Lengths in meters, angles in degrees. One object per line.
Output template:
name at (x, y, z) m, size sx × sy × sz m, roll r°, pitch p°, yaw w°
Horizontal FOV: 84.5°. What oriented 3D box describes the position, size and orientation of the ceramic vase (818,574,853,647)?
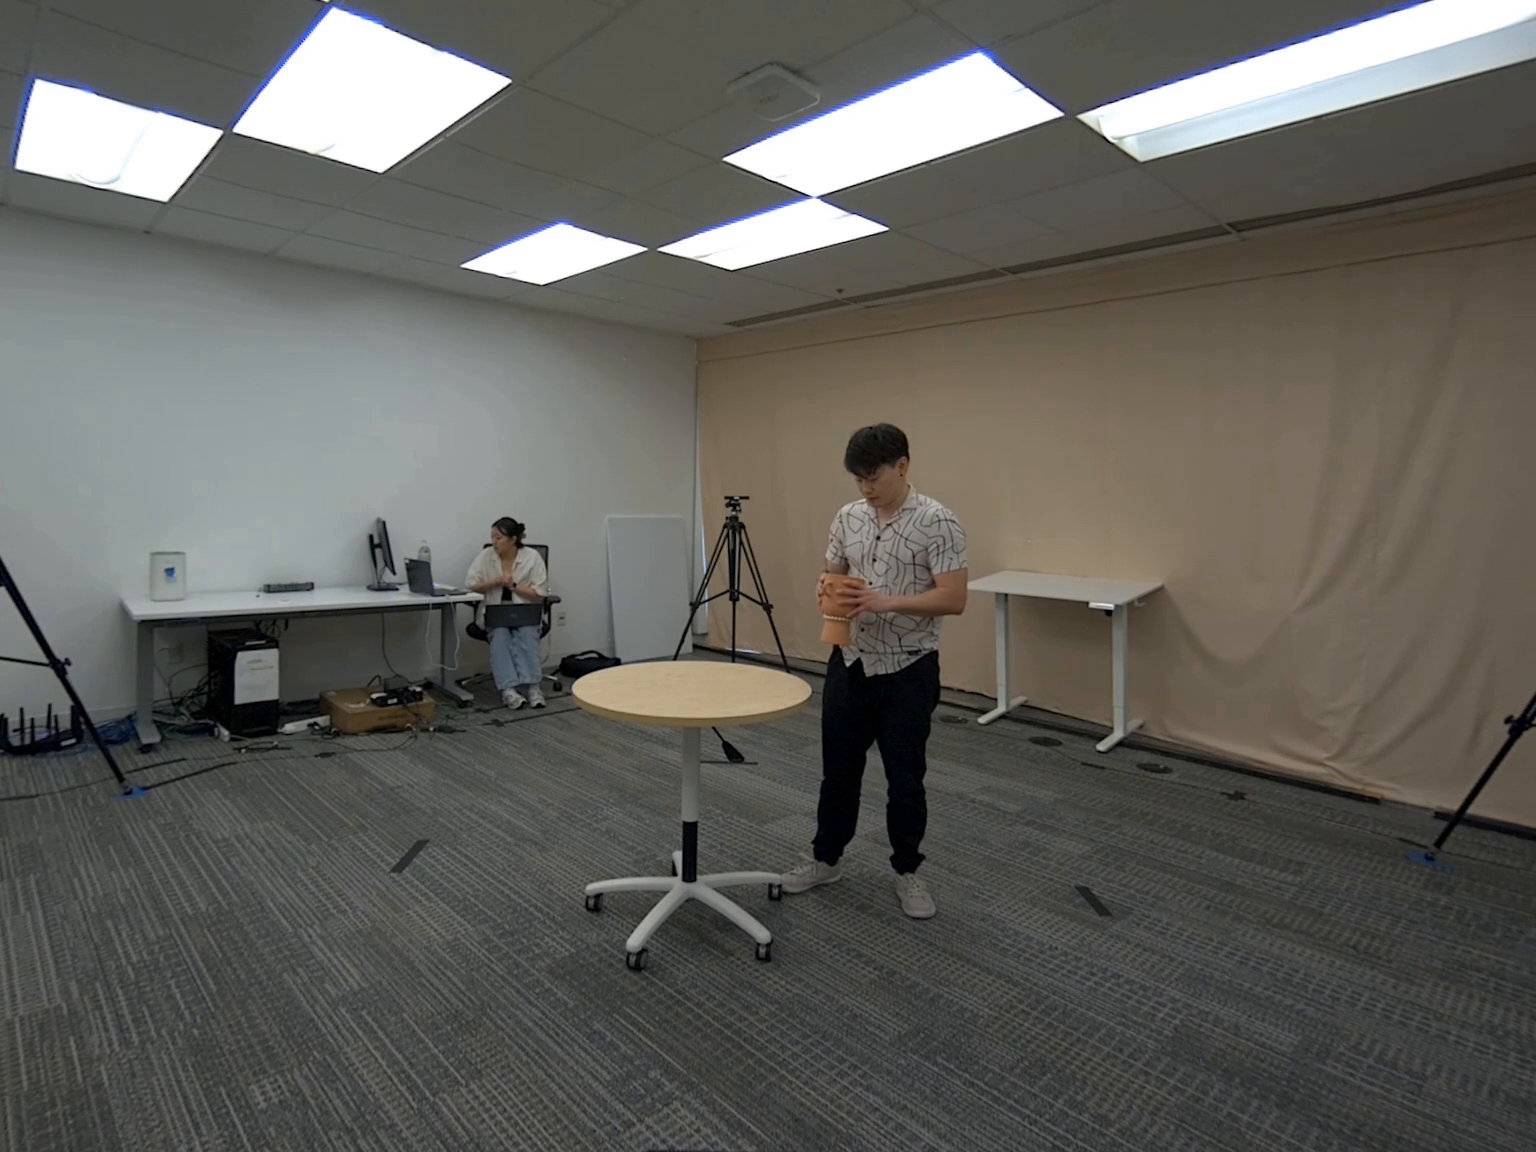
ceramic vase at (0.225, 0.111, 2.715) m, size 0.157 × 0.220 × 0.135 m, roll 8°, pitch -4°, yaw -9°
